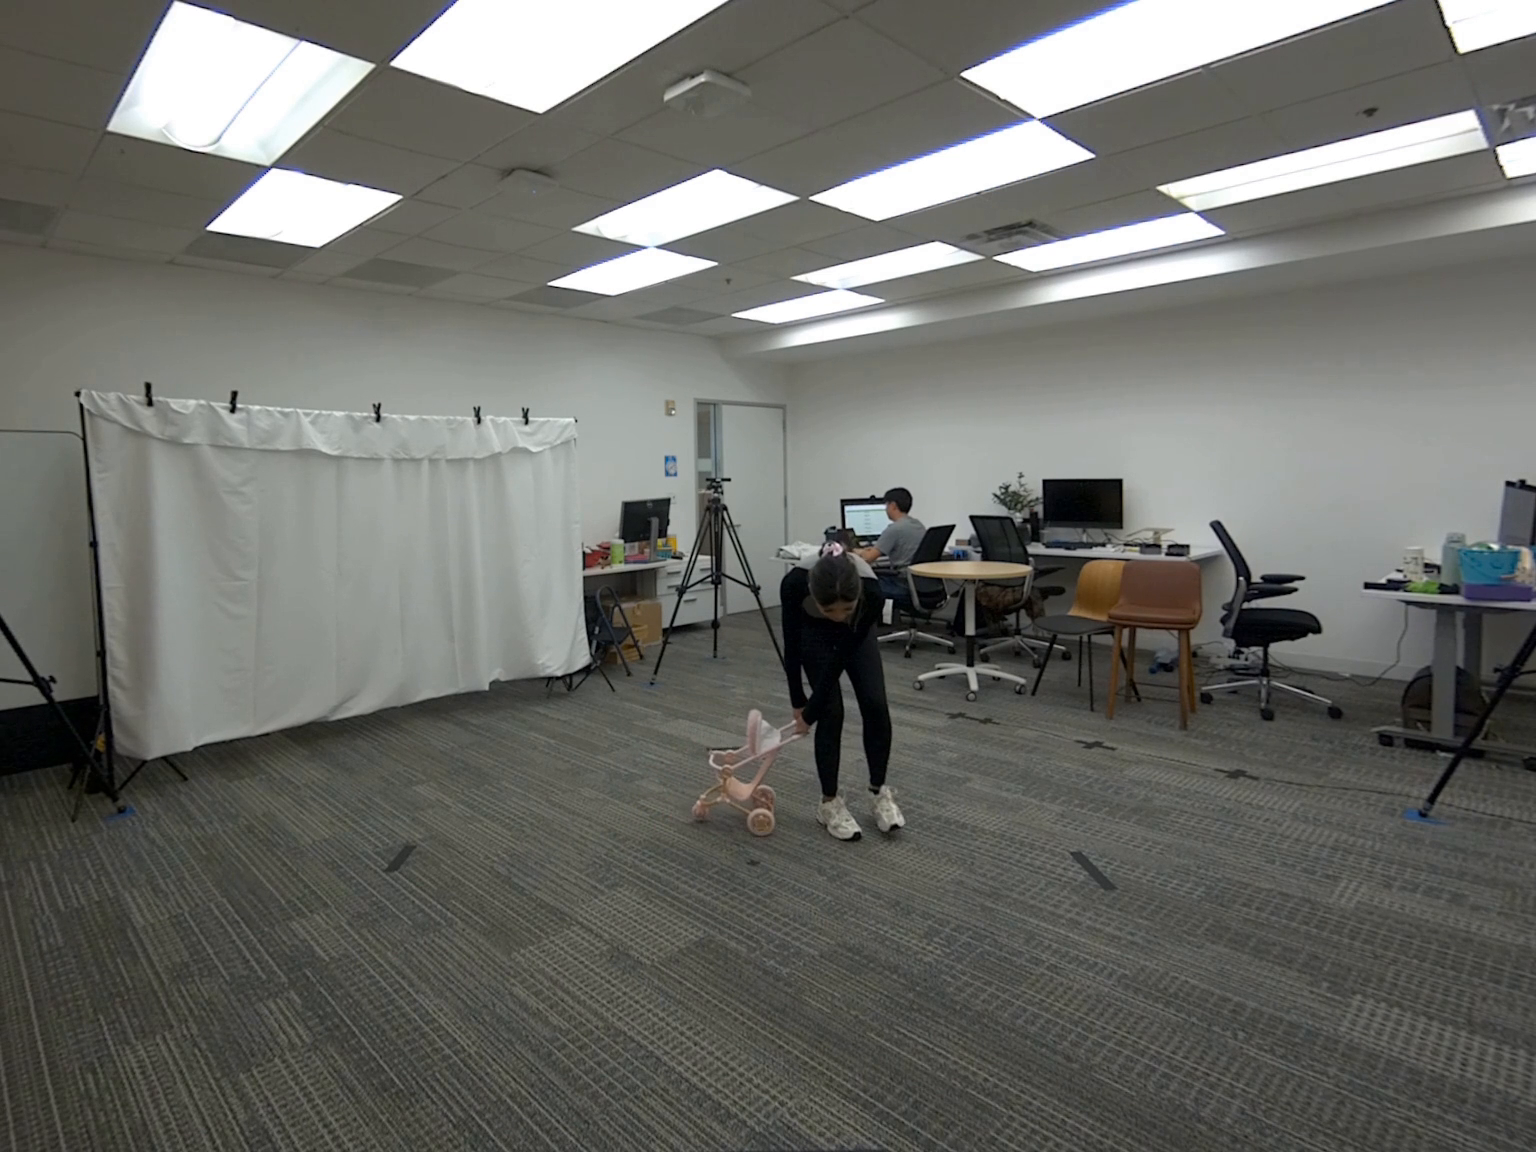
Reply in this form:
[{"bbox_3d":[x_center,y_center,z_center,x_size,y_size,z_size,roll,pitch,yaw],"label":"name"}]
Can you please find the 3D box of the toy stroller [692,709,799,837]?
[{"bbox_3d":[-0.081,0.777,3.461,0.345,0.533,0.280,19,6,7],"label":"toy stroller"}]
